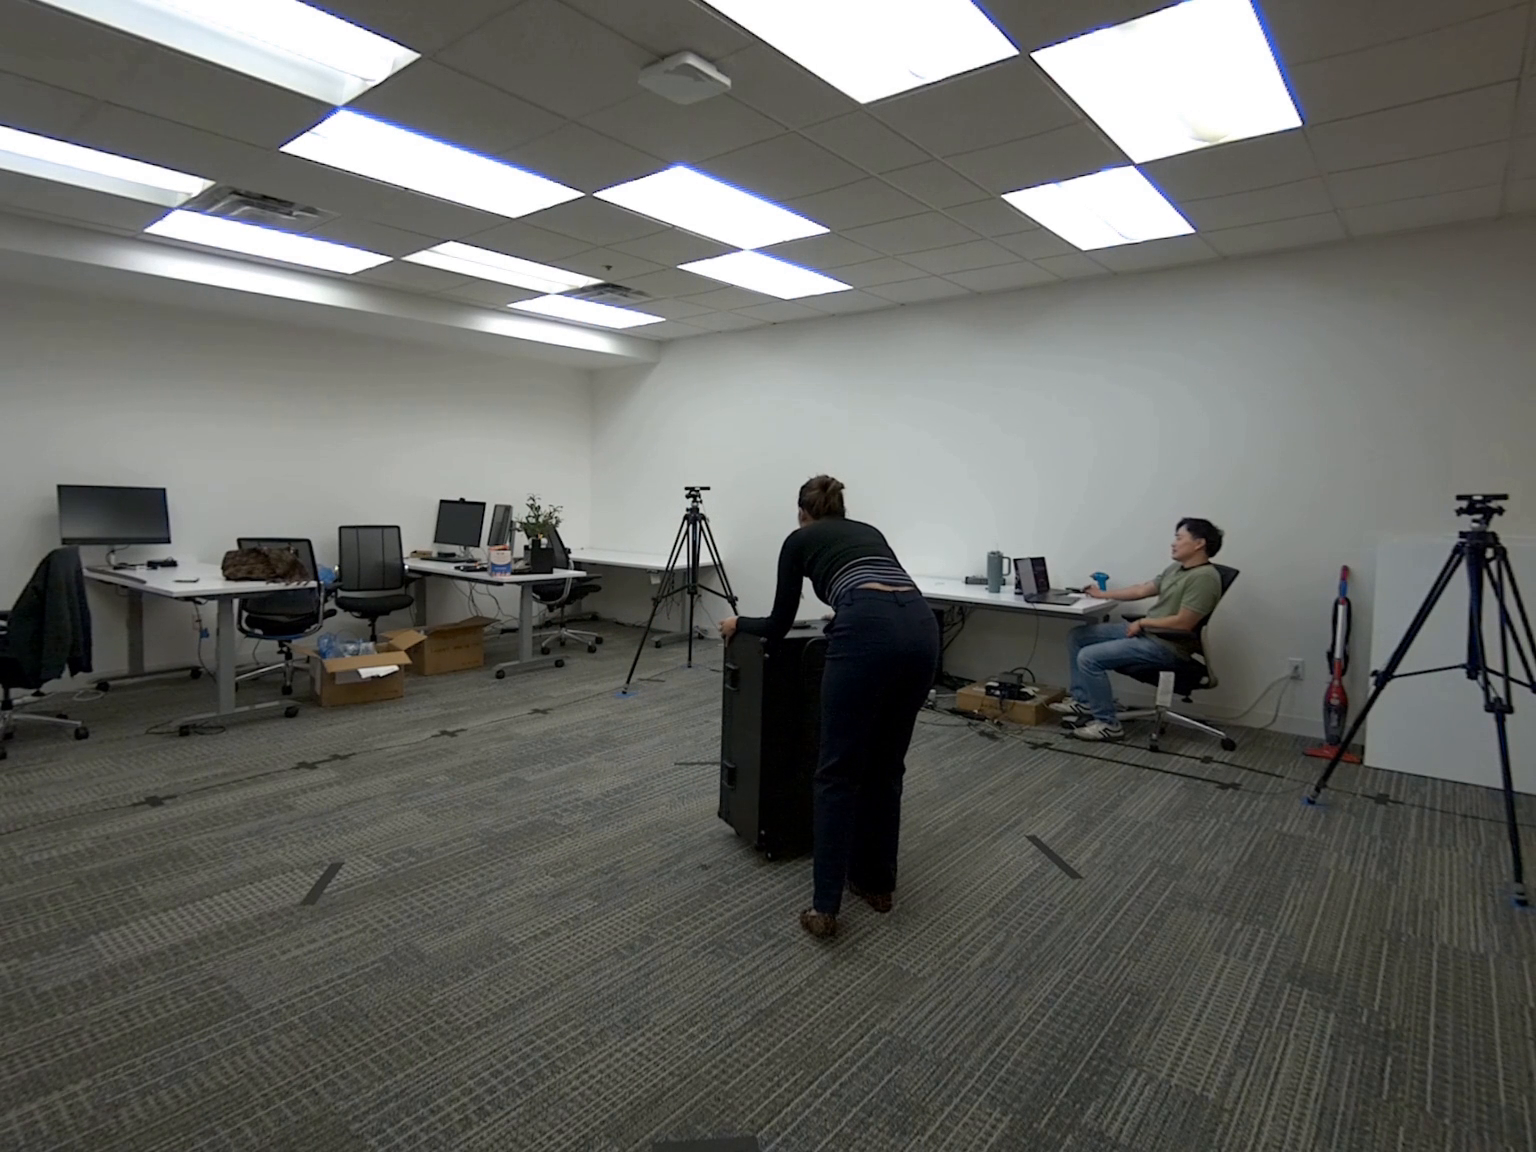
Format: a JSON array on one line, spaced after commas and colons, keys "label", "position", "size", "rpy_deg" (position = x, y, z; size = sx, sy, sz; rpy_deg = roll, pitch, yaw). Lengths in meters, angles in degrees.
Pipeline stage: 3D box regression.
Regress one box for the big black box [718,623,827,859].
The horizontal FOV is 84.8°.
[{"label": "big black box", "position": [0.106, 0.625, 3.321], "size": [0.508, 0.858, 0.408], "rpy_deg": [1, 5, -26]}]
